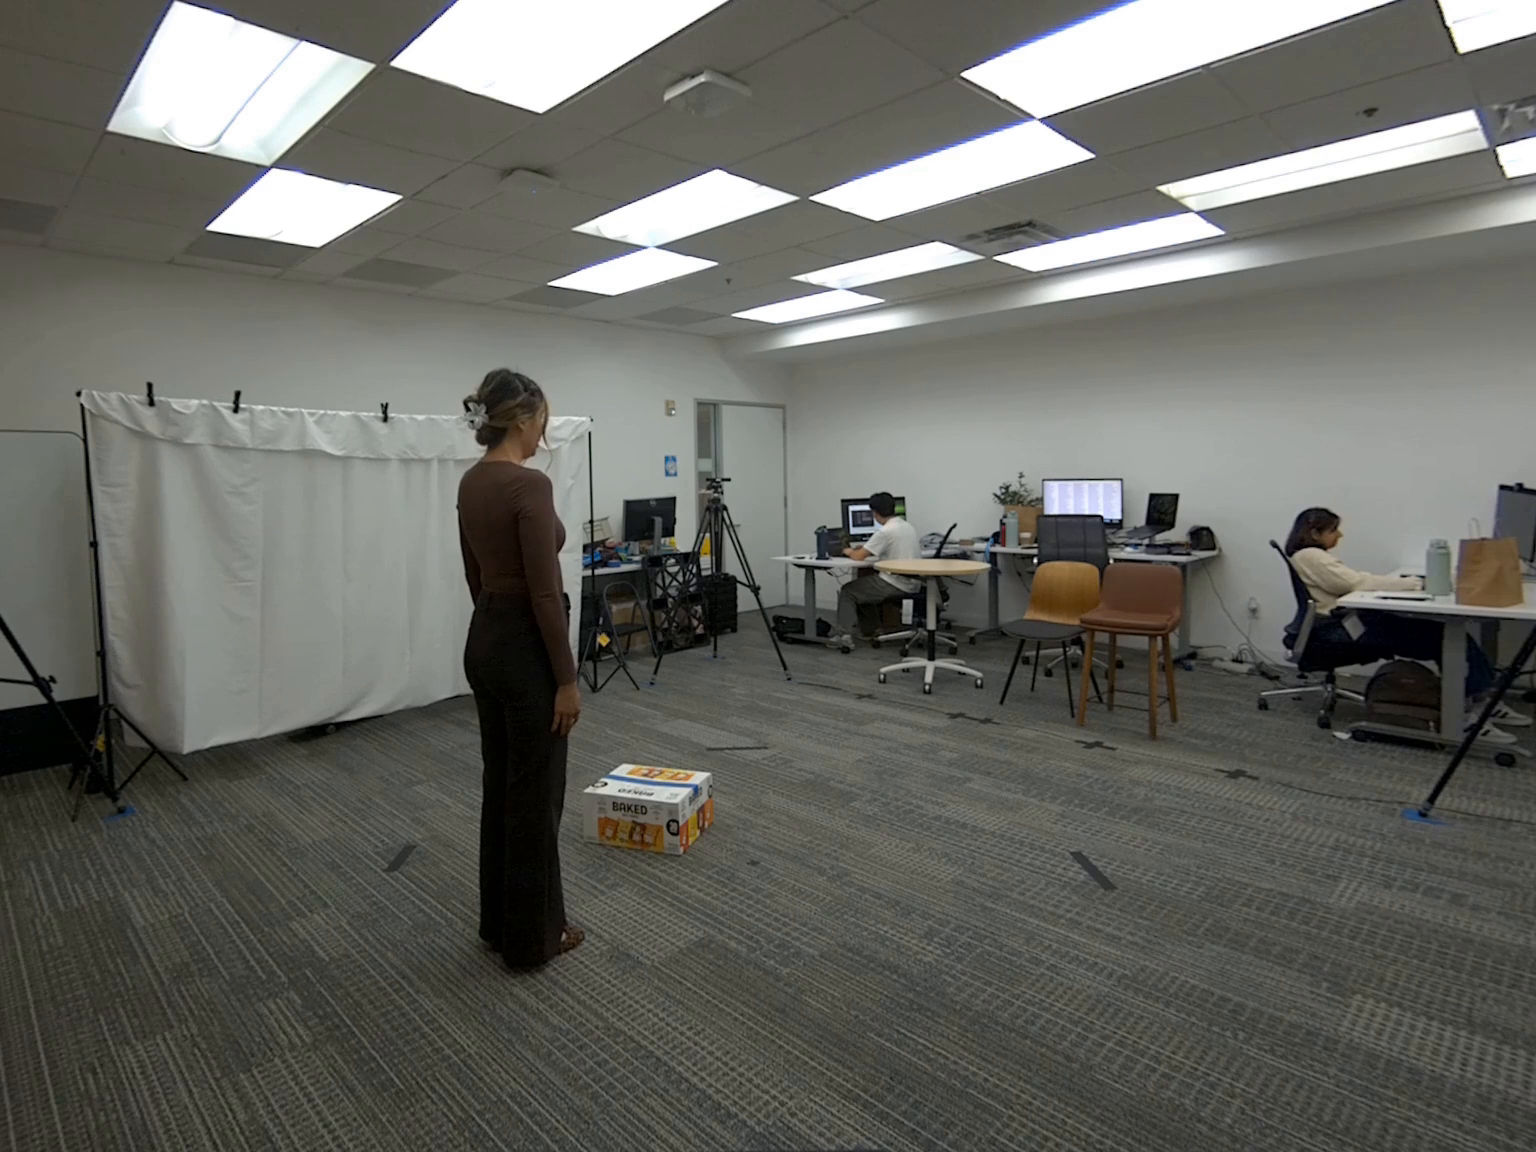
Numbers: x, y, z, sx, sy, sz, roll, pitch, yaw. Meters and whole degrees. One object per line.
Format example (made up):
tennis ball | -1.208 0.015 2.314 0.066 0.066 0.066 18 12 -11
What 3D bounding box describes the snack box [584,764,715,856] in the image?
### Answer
snack box | -0.468 0.914 3.386 0.413 0.205 0.335 1 6 19
